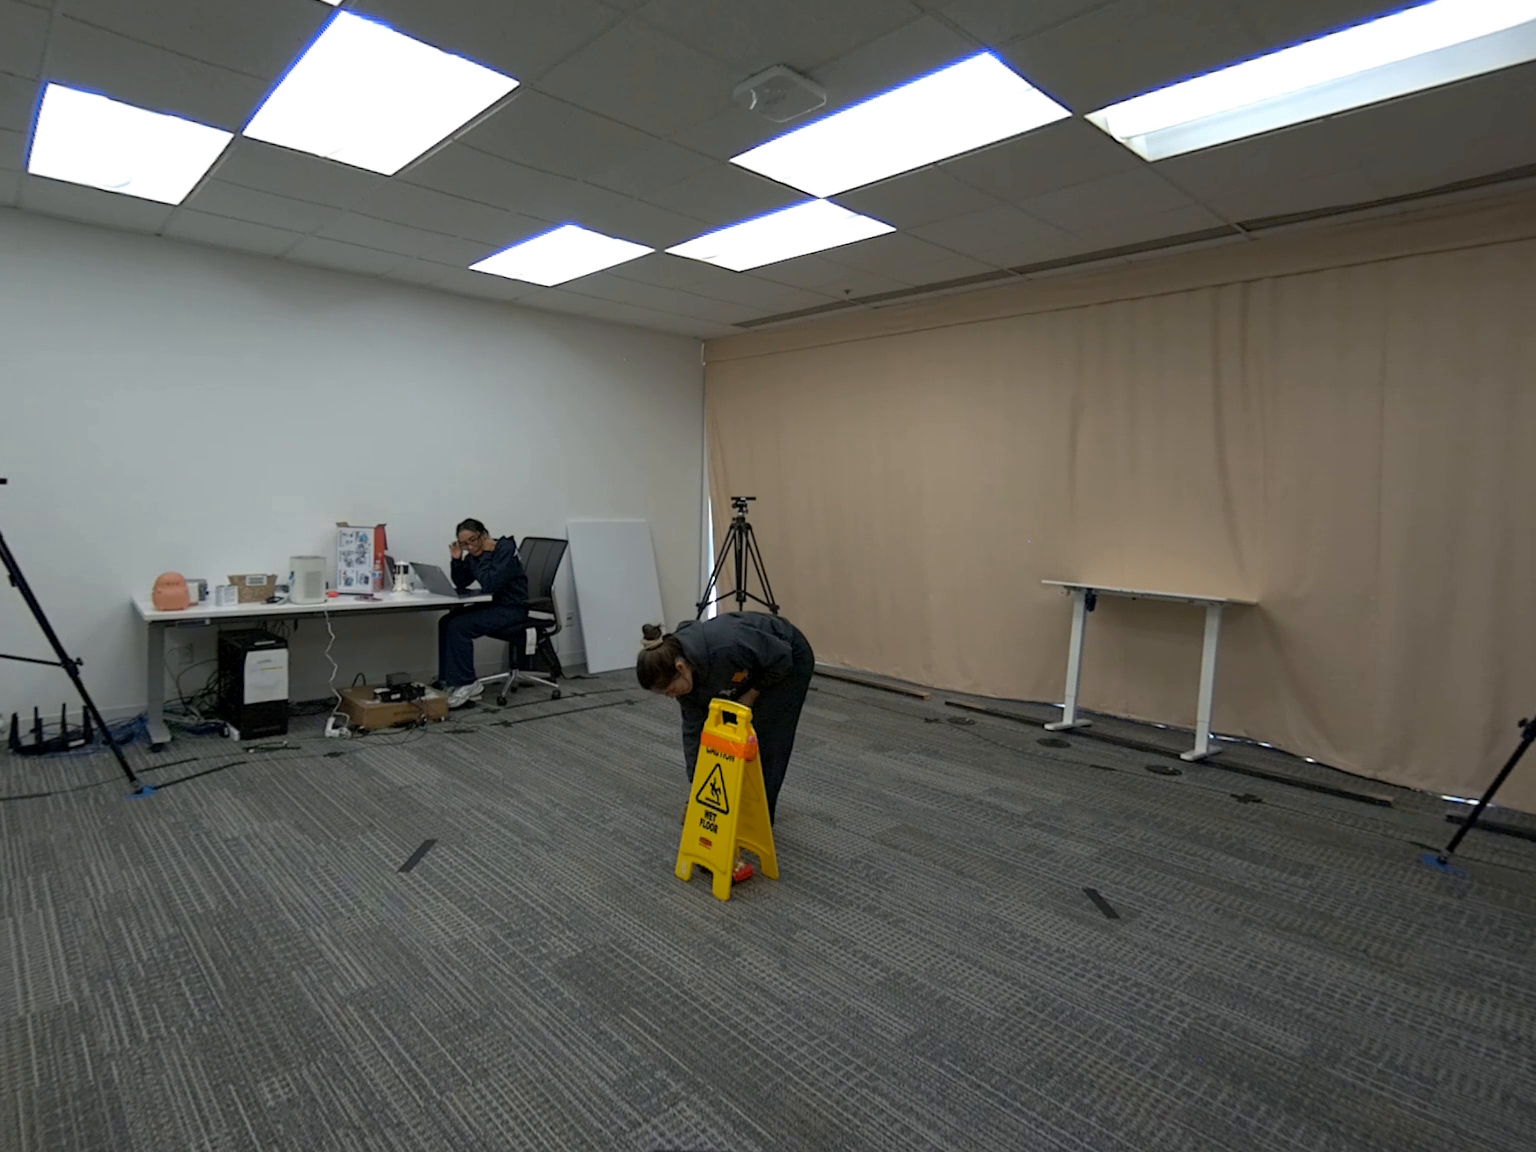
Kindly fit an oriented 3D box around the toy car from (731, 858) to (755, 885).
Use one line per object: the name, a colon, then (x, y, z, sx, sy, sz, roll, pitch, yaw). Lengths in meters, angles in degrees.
toy car: (-0.188, 1.068, 3.159, 0.127, 0.082, 0.262, -4, 17, -45)
